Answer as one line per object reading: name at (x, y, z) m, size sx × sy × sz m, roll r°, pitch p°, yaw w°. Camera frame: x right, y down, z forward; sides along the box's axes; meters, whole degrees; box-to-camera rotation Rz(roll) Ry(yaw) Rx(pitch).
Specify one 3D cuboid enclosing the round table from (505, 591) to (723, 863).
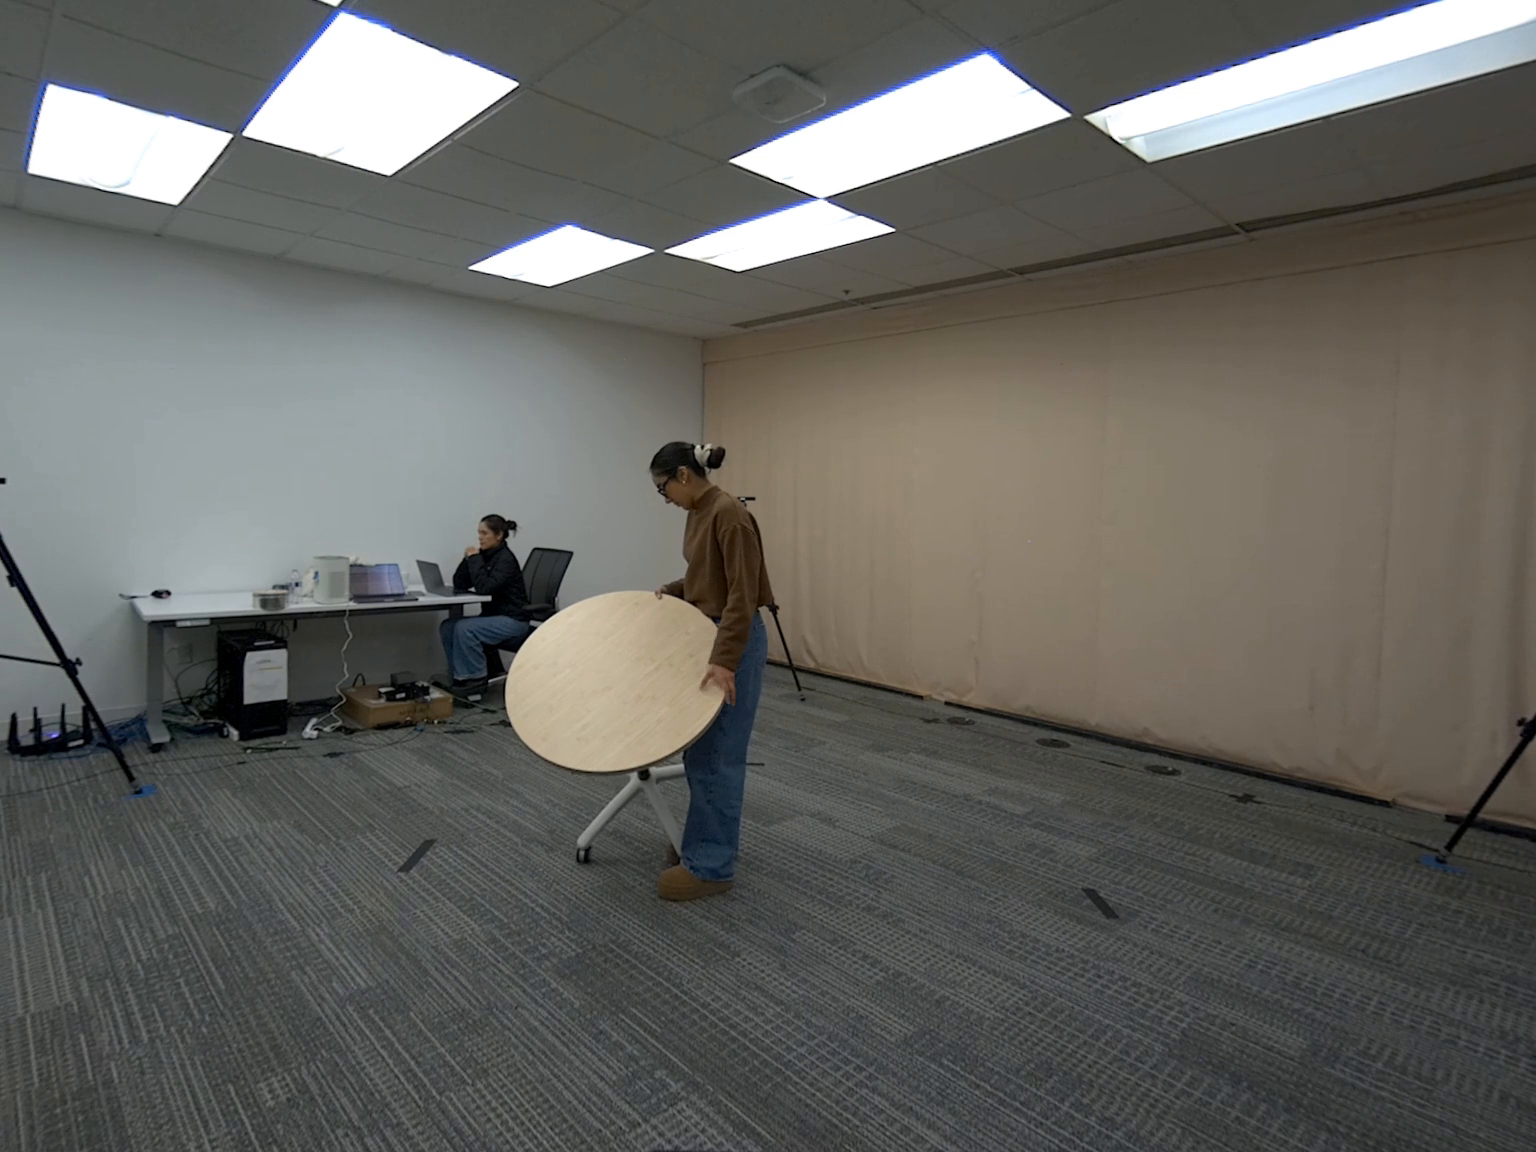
round table at (-0.517, 0.608, 3.130) m, size 0.765 × 0.775 × 0.781 m, roll -3°, pitch 44°, yaw 1°
